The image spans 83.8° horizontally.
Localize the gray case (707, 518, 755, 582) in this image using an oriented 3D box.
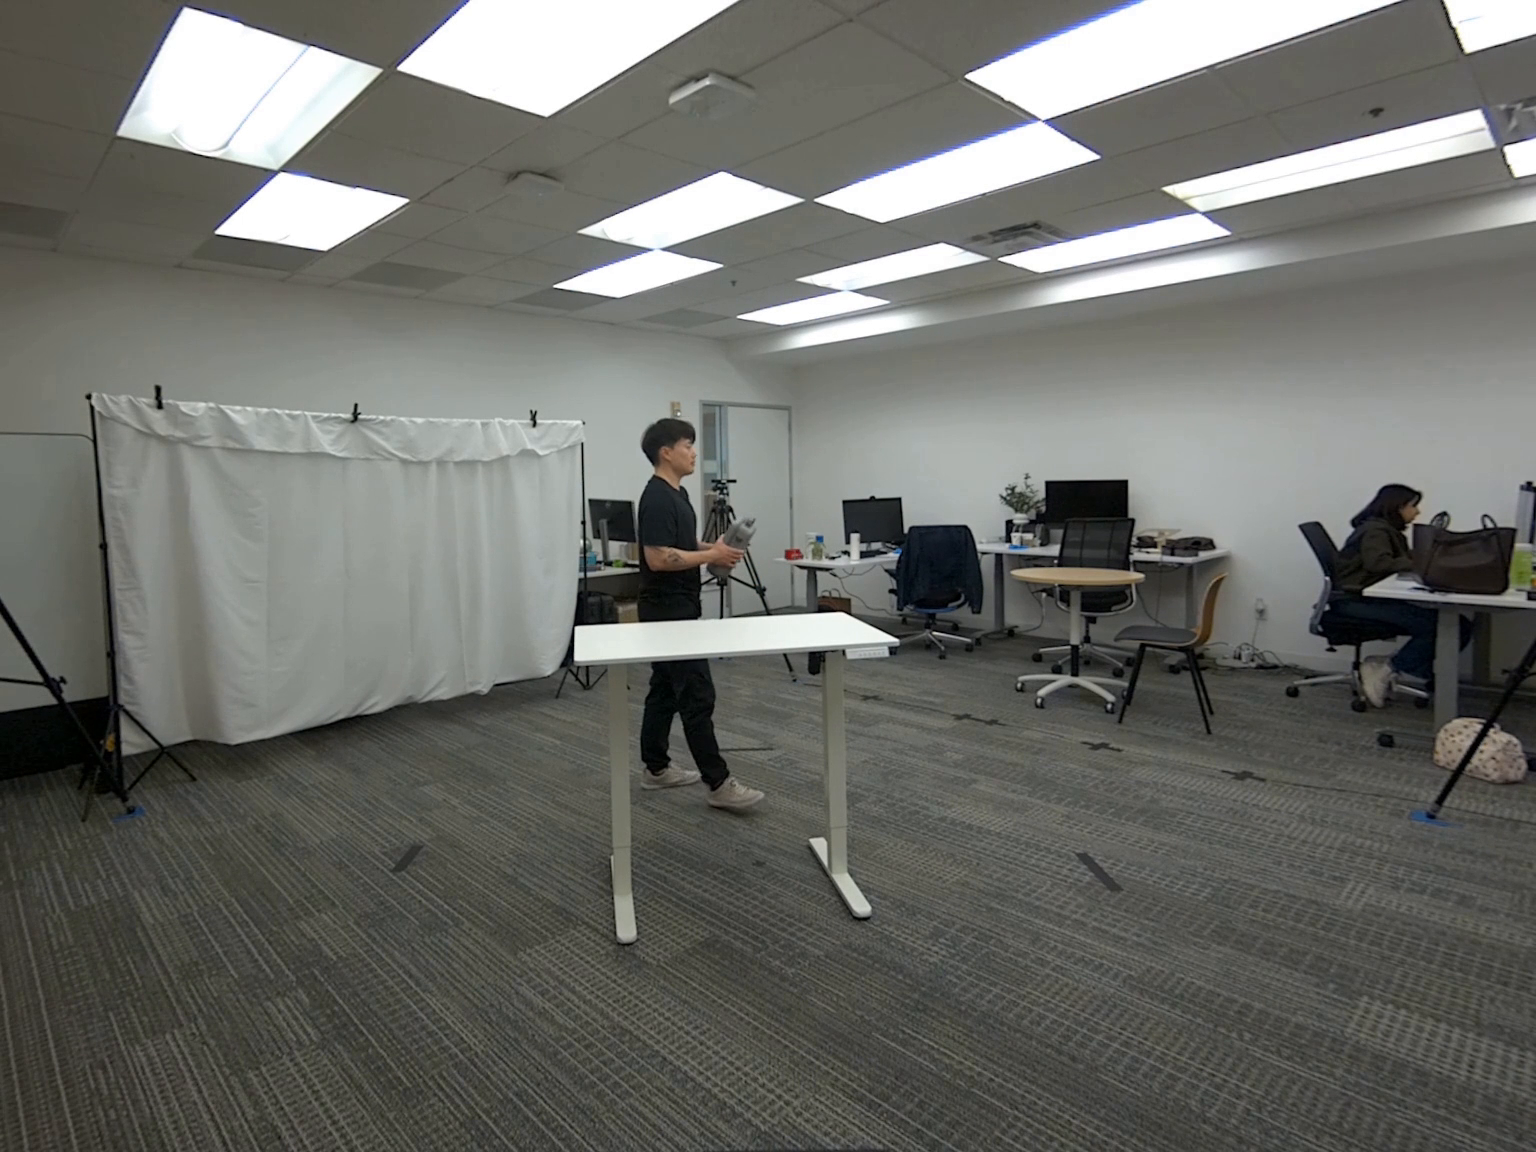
[{"bbox_3d":[-0.159,-0.129,3.784,0.104,0.260,0.257,31,10,-1],"label":"gray case"}]
